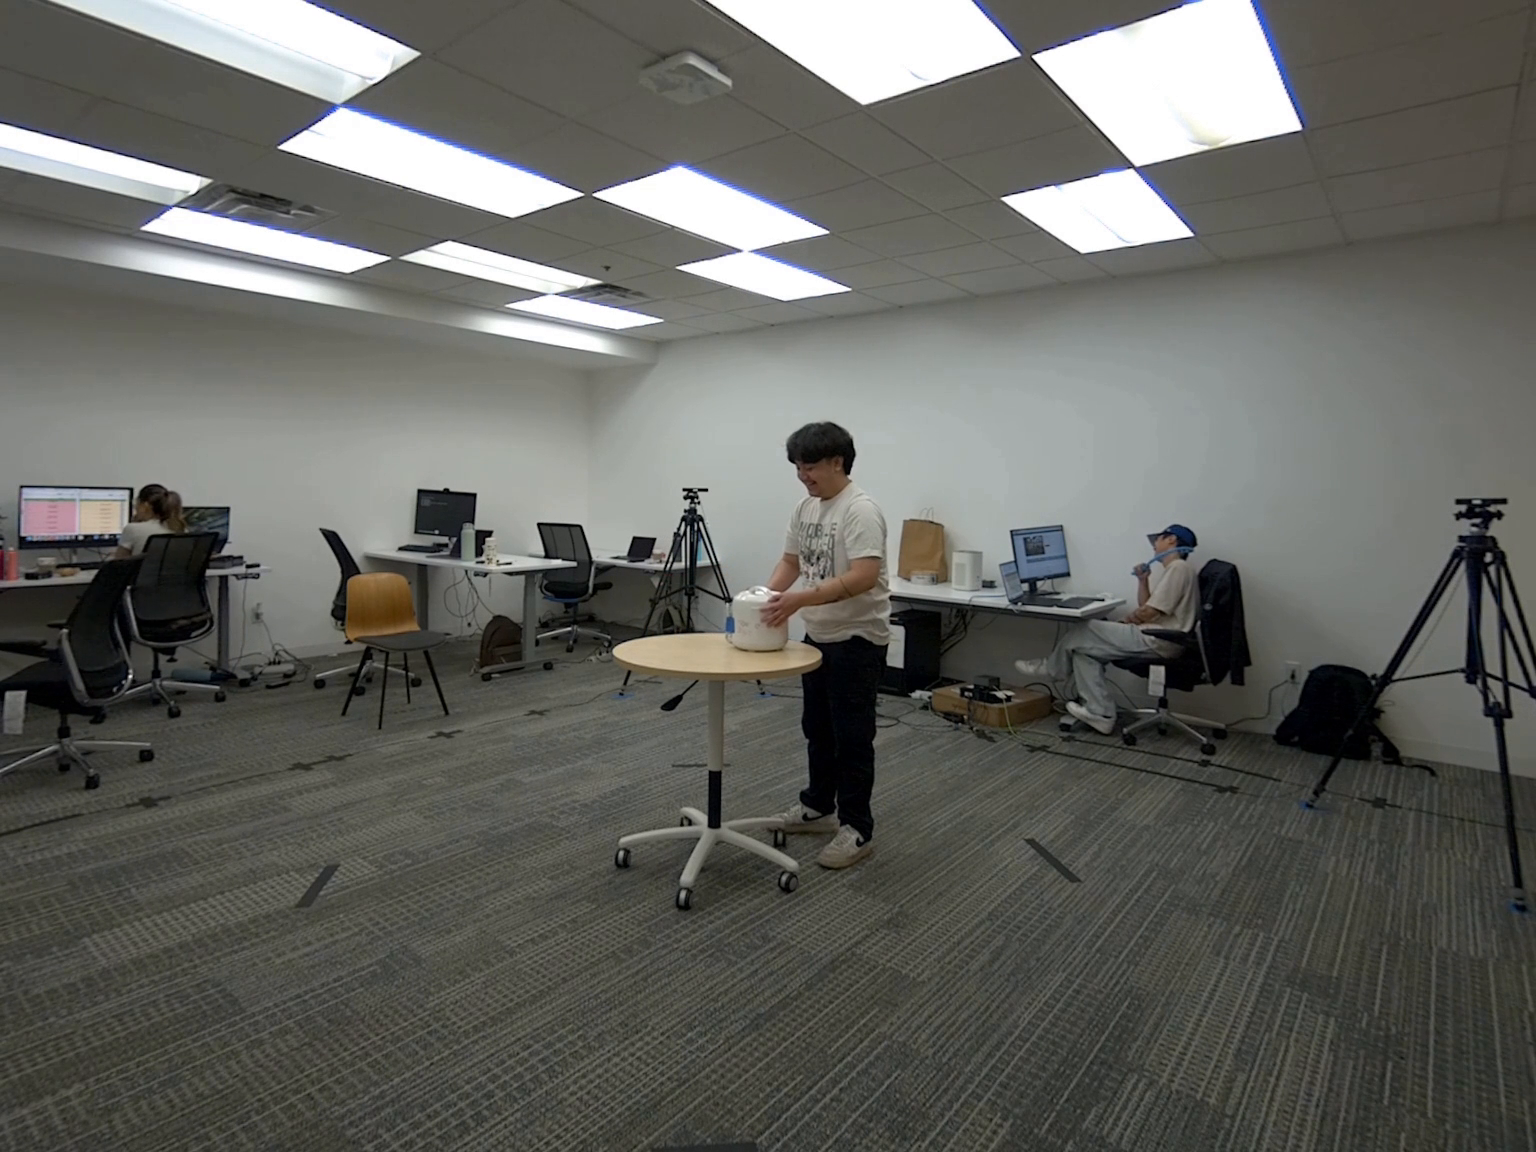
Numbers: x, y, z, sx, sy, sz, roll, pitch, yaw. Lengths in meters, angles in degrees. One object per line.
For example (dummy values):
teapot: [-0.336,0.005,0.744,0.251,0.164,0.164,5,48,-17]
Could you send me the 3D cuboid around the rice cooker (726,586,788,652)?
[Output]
rice cooker: [-0.038,0.153,3.194,0.212,0.232,0.227,-1,6,-28]
